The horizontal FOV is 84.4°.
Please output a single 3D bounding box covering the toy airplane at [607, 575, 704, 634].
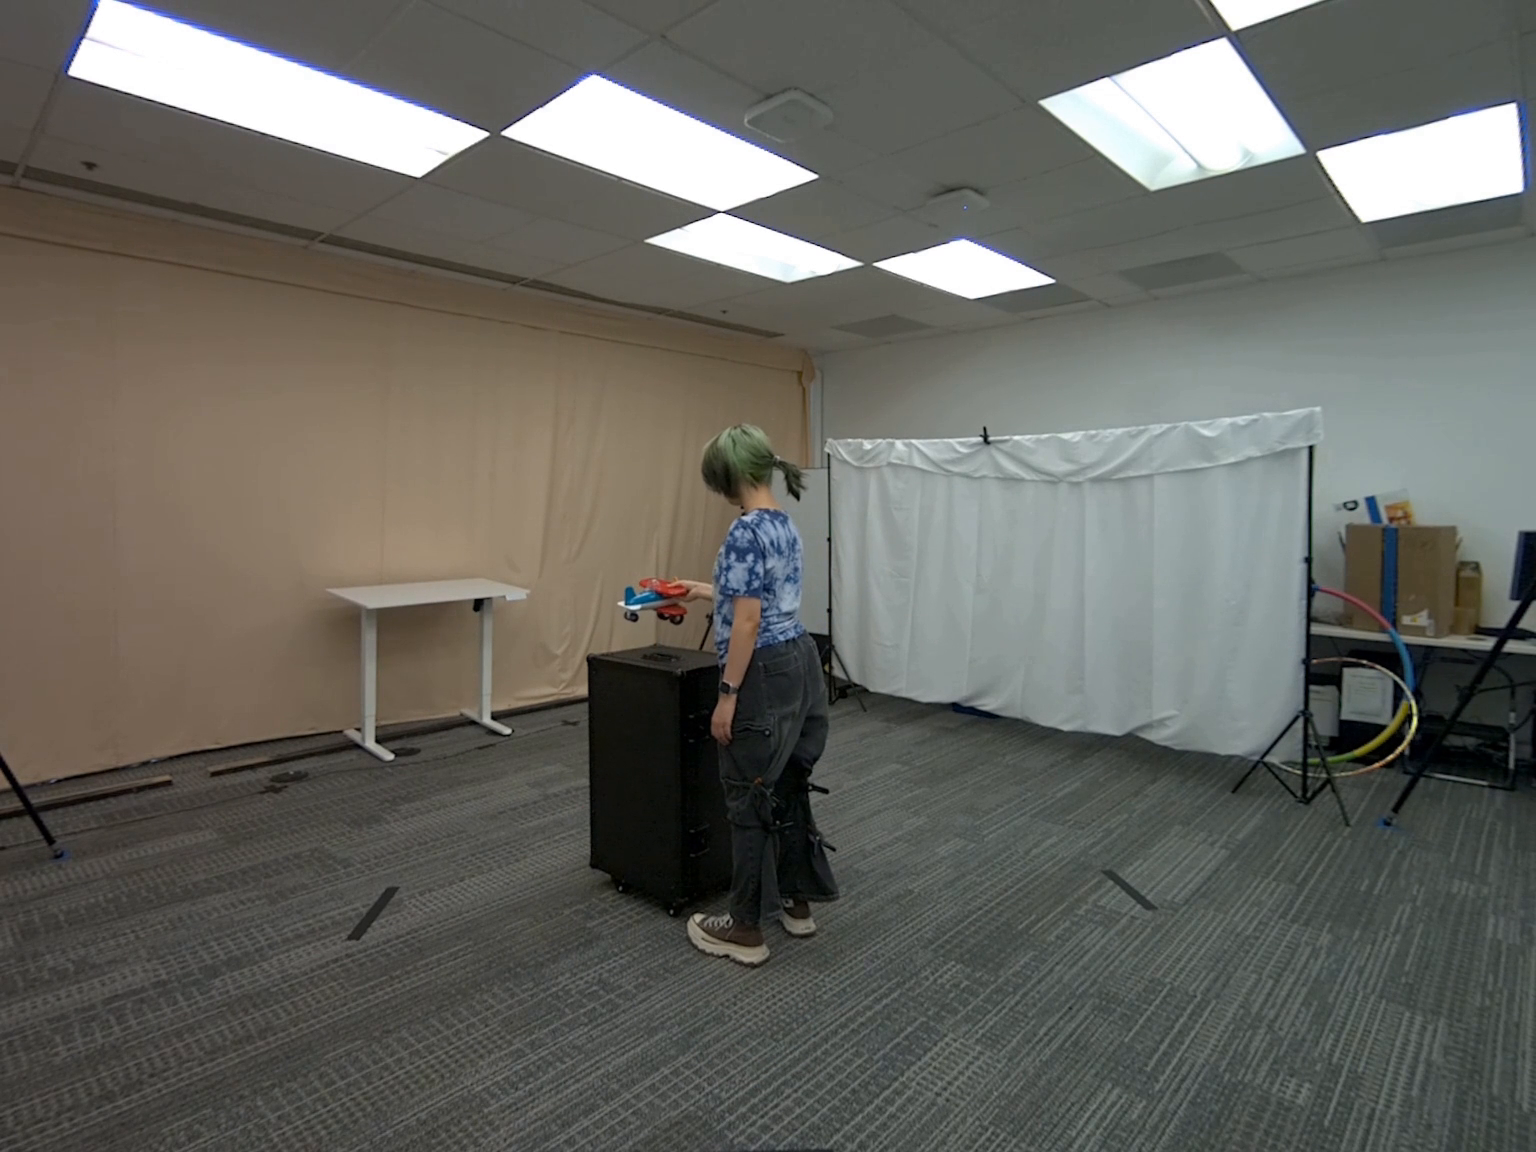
[{"bbox_3d":[-0.413,0.099,3.150,0.257,0.156,0.253,11,4,22],"label":"toy airplane"}]
